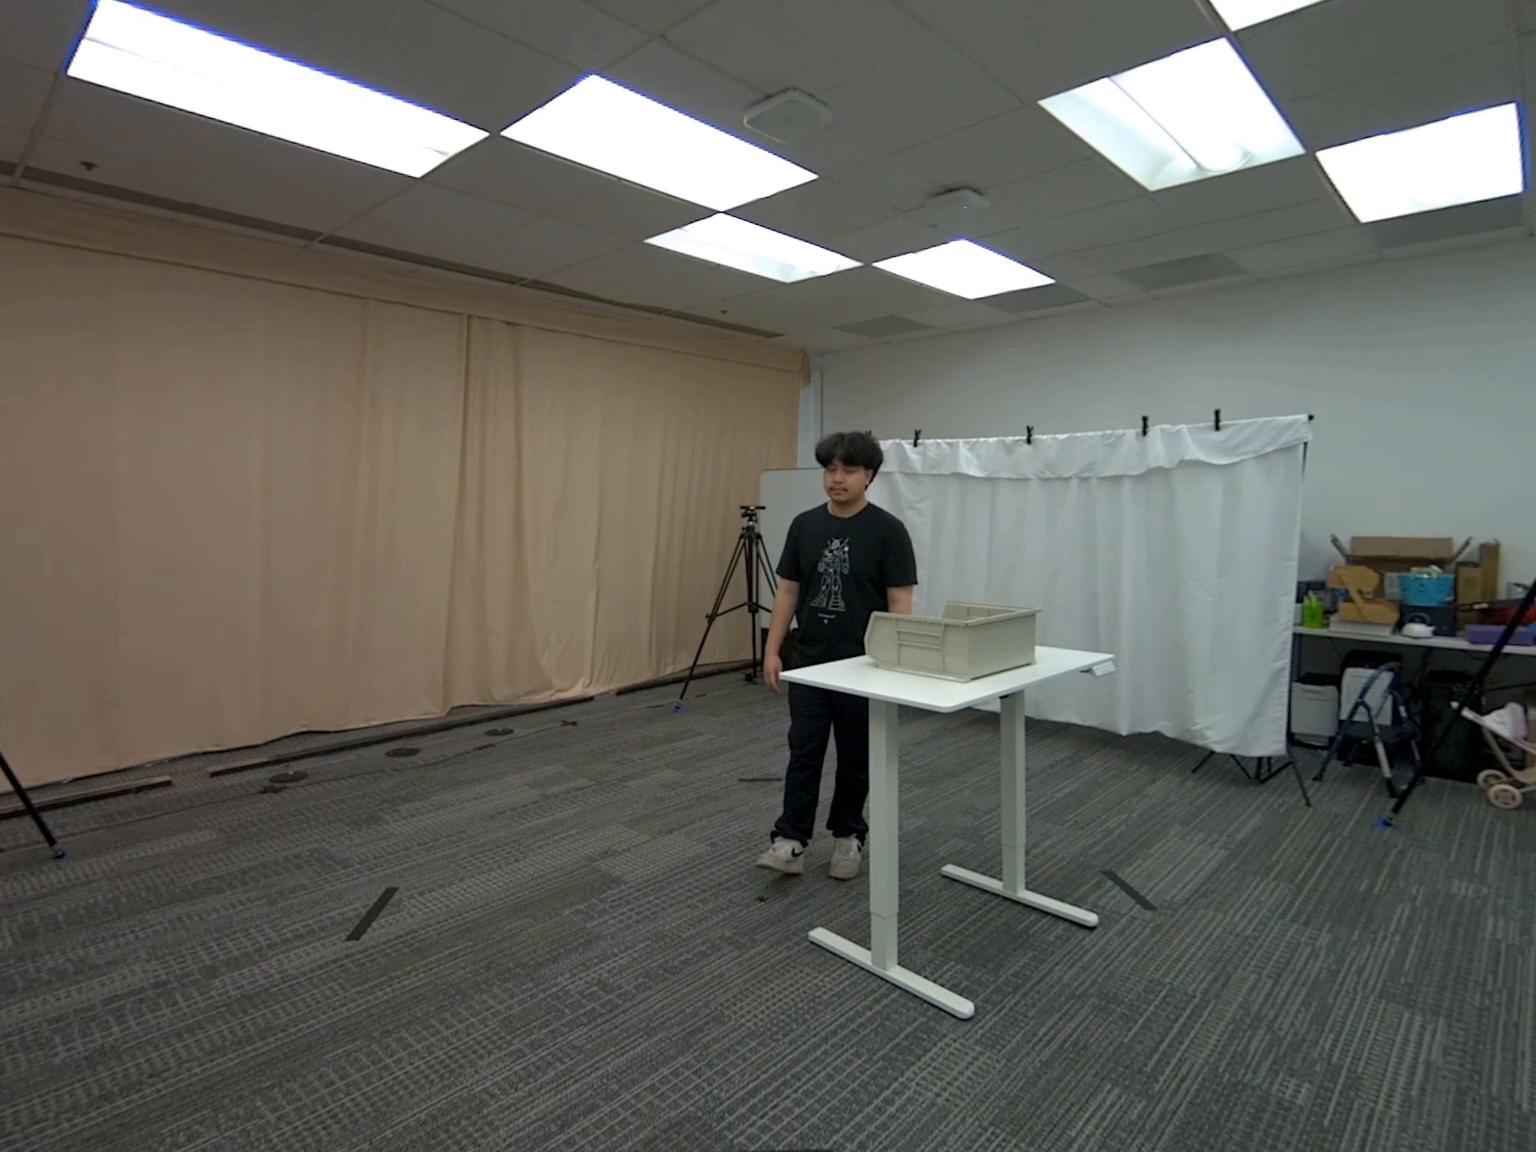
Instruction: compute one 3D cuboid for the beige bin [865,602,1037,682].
[{"bbox_3d":[0.580,0.195,2.680,0.409,0.188,0.390,-4,6,-42],"label":"beige bin"}]
